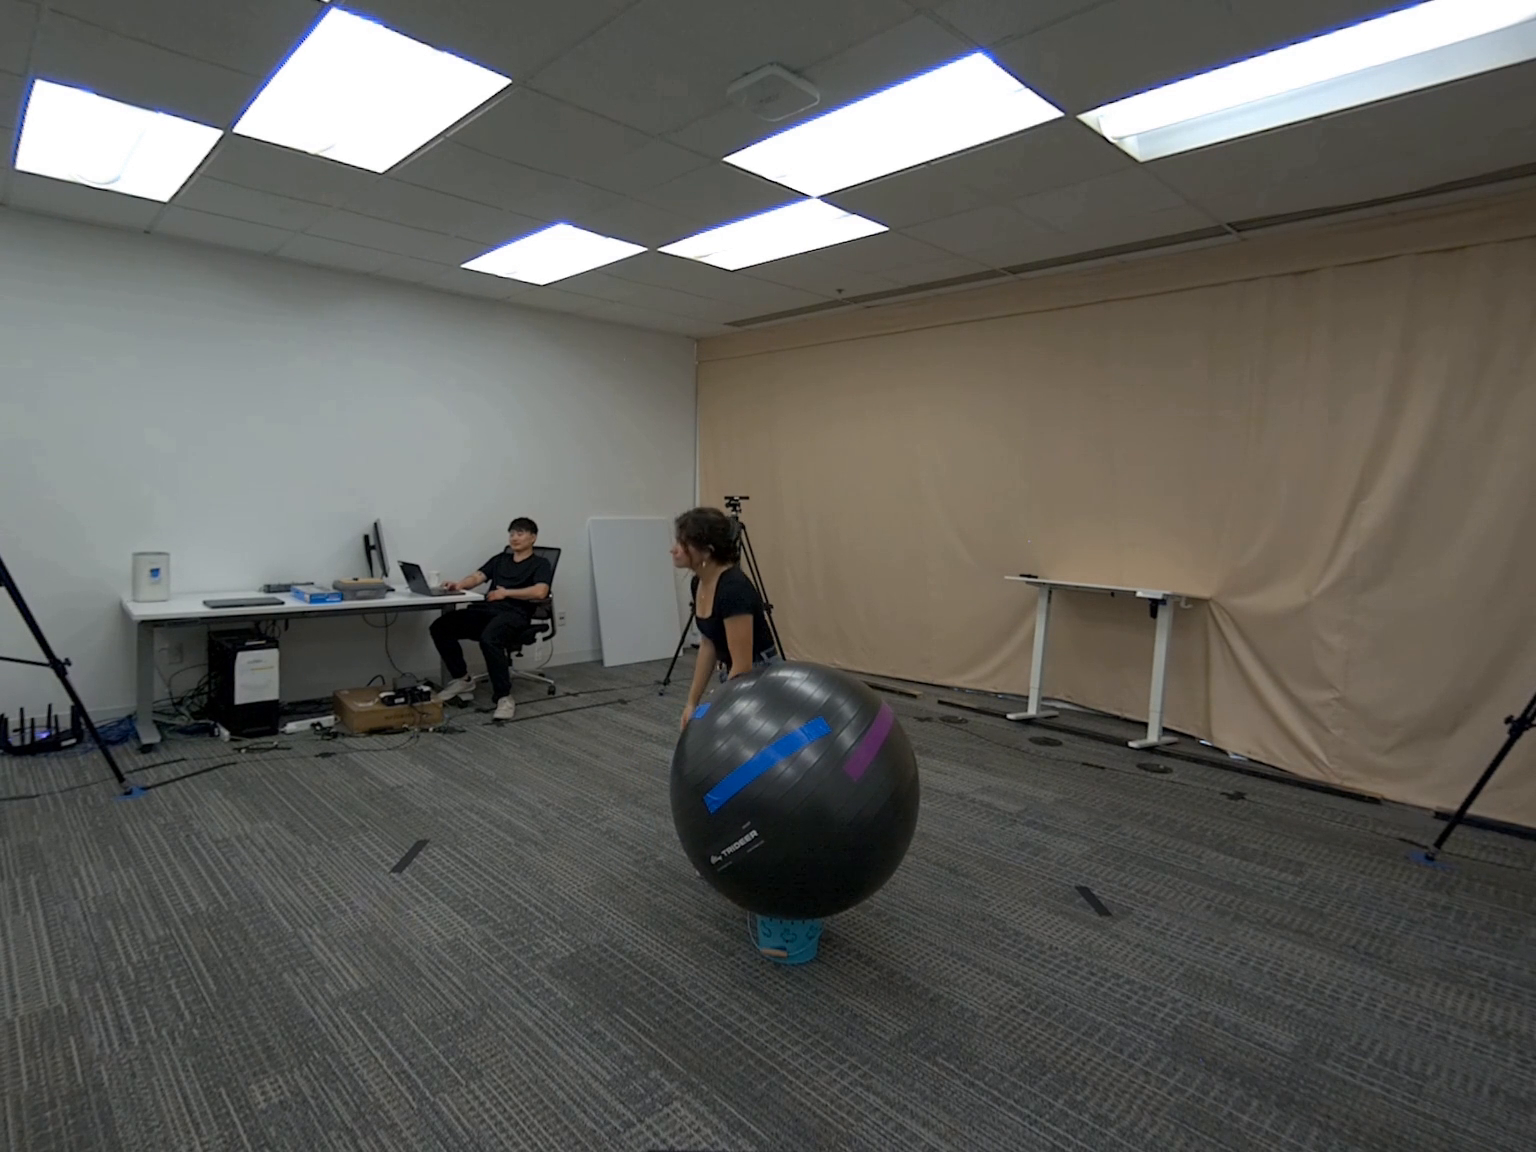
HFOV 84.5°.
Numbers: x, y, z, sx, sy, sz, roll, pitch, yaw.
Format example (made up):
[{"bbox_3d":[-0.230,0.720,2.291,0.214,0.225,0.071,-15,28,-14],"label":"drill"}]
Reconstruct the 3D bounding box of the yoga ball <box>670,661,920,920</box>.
[{"bbox_3d":[0.077,0.646,2.576,0.757,0.756,0.761,1,4,-1],"label":"yoga ball"}]
